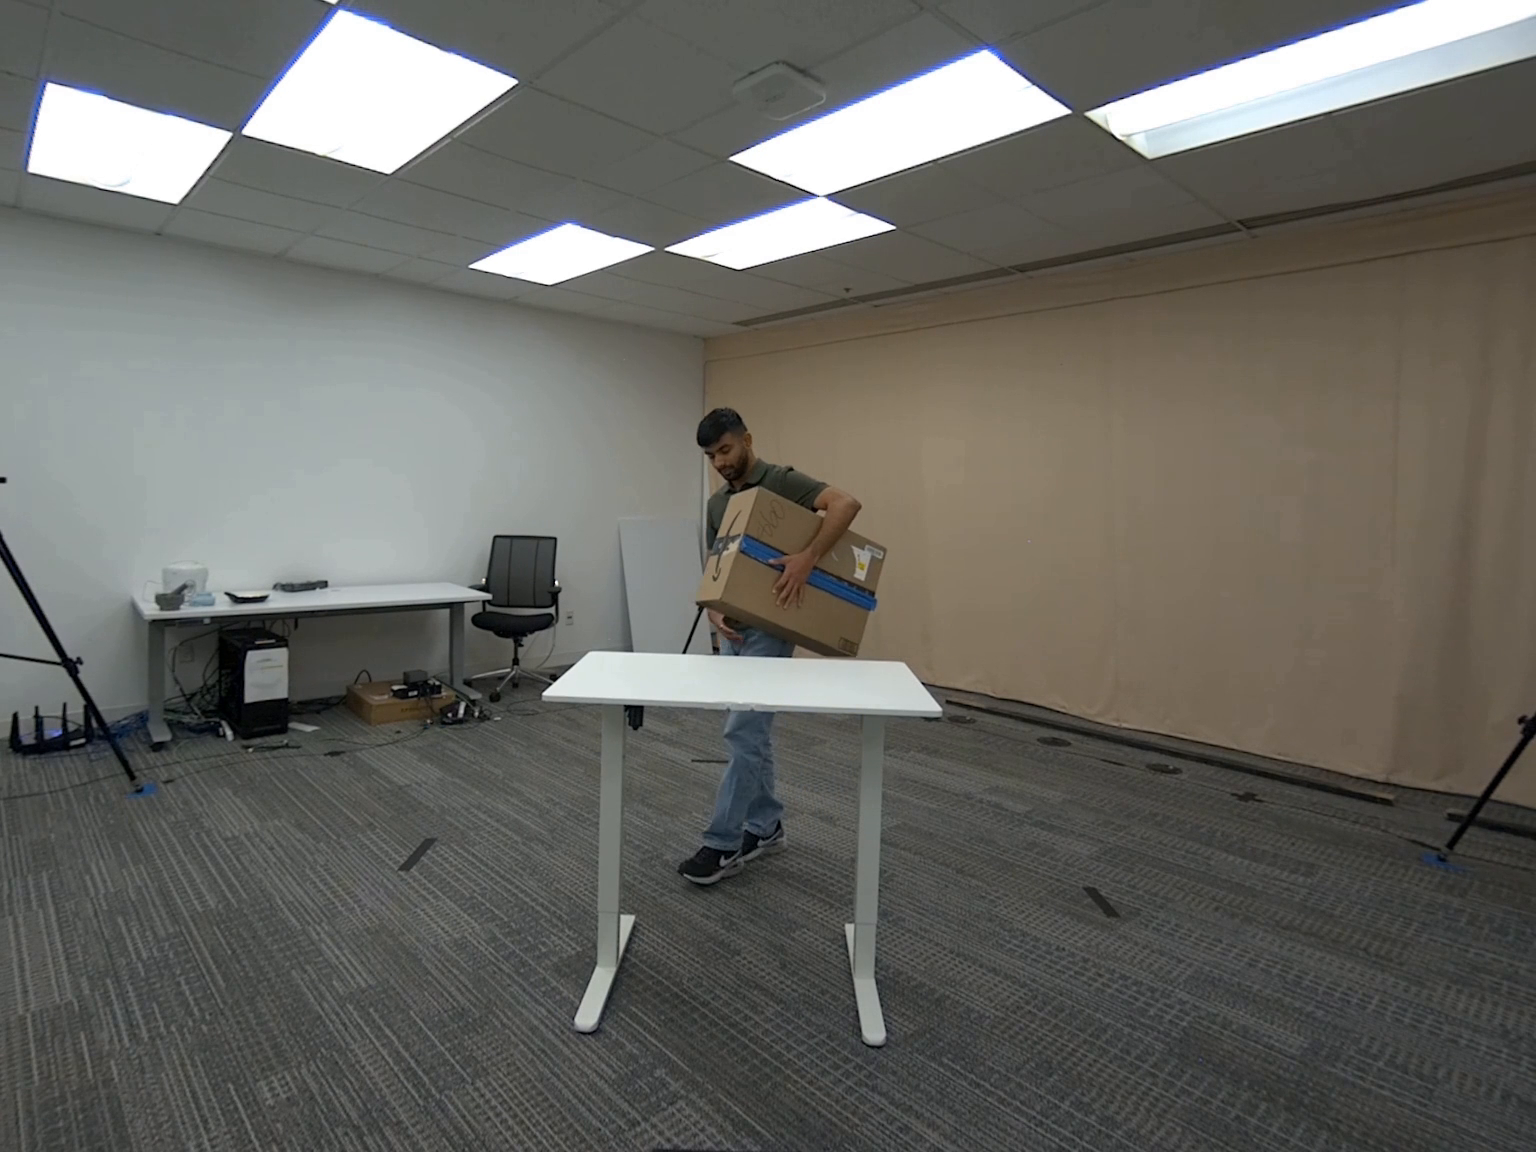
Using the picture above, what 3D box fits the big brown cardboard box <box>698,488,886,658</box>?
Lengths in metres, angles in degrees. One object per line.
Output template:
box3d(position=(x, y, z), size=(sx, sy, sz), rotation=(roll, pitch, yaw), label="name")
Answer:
box3d(position=(0.087, 0.003, 2.980), size=(0.576, 0.420, 0.237), rotation=(24, -16, -23), label="big brown cardboard box")
